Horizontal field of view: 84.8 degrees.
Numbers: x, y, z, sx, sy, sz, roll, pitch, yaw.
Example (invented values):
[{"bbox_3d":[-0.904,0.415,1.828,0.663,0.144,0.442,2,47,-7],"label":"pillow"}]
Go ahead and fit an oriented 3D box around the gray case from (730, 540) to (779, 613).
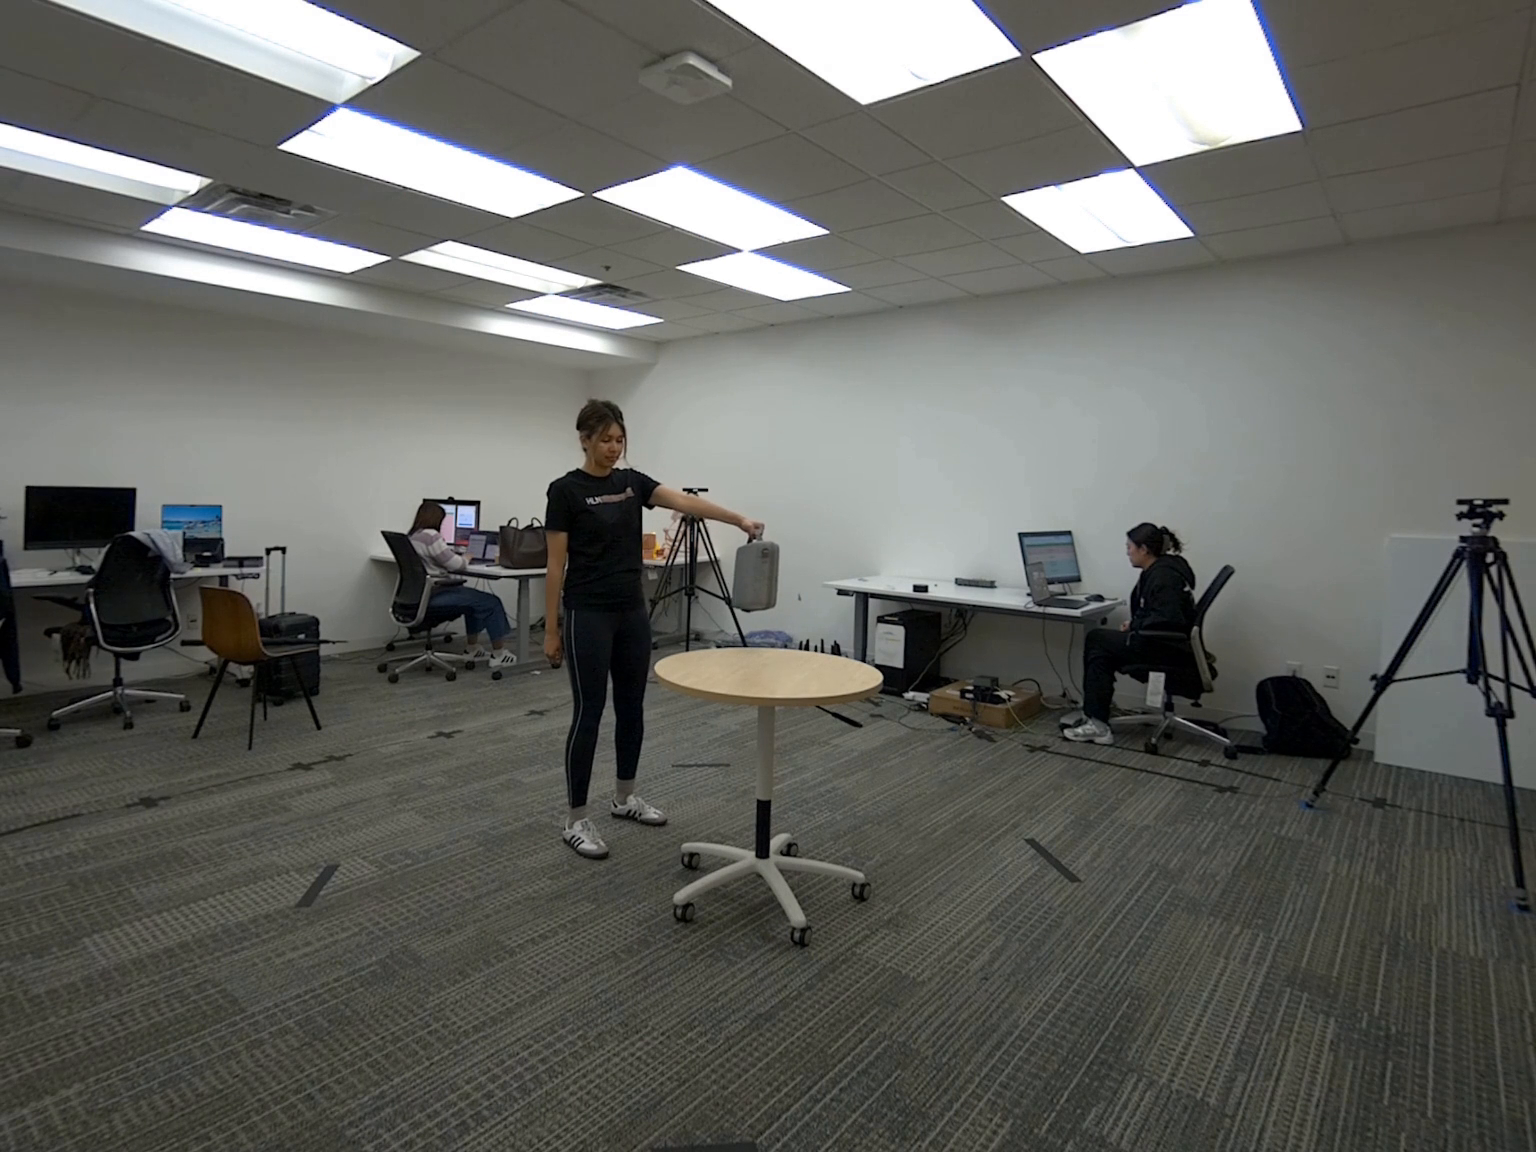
[{"bbox_3d":[-0.055,-0.005,3.242,0.102,0.263,0.260,6,-9,-20],"label":"gray case"}]
